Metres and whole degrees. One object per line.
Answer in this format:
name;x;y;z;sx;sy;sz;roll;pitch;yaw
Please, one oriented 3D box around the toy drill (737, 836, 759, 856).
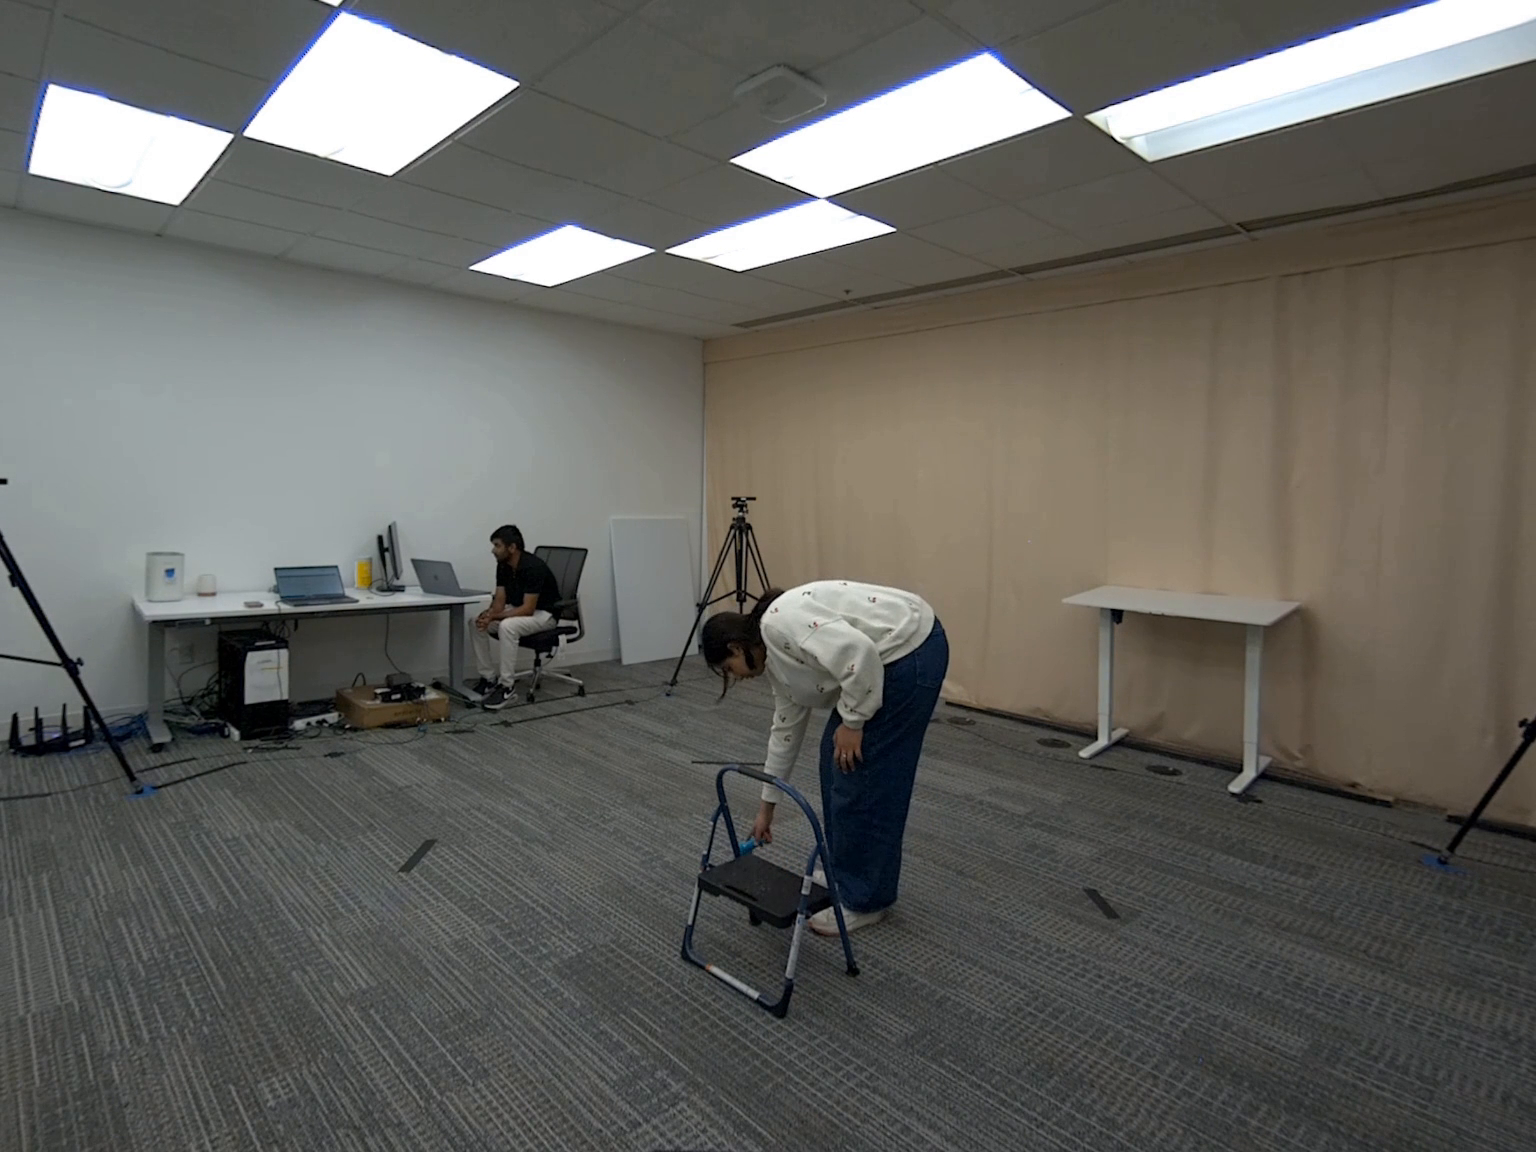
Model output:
toy drill;-0.049;0.985;3.089;0.146;0.063;0.165;-29;-26;3
